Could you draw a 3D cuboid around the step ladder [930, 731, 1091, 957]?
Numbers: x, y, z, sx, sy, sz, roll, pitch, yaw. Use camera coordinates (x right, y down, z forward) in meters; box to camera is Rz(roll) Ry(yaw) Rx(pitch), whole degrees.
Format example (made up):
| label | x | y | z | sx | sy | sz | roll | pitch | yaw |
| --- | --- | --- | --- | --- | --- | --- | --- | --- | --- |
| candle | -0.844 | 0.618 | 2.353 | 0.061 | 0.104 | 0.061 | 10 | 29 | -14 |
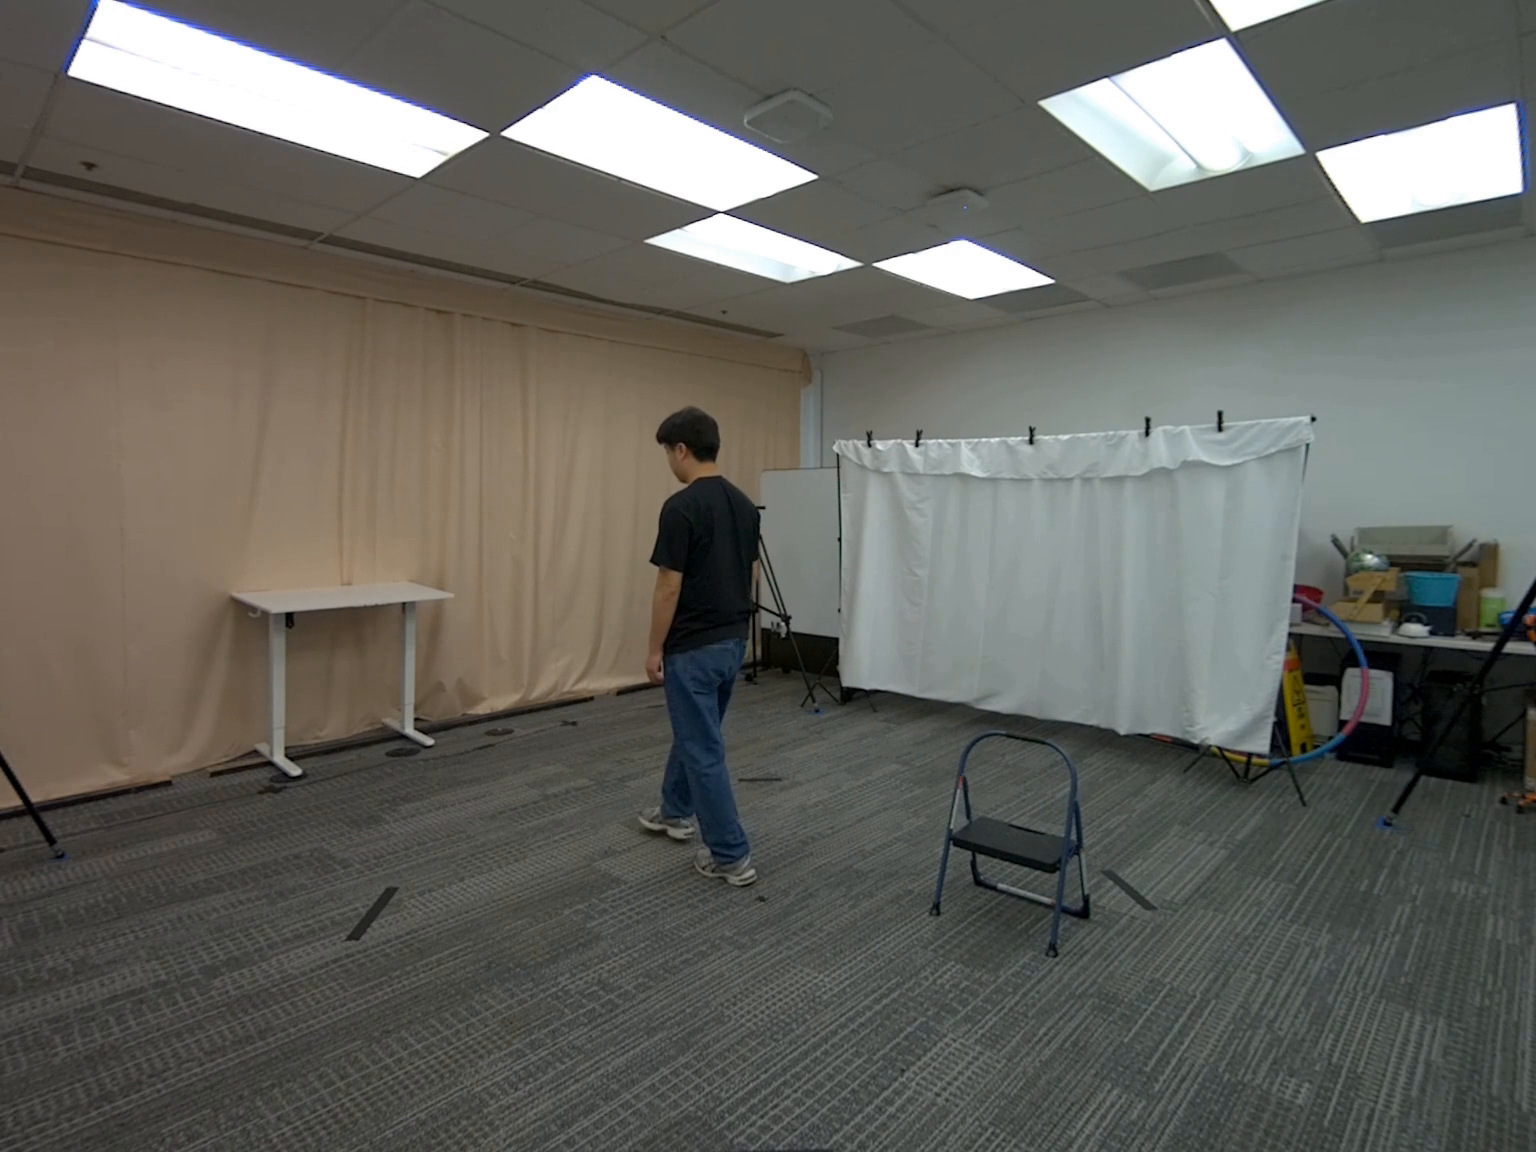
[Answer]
| label | x | y | z | sx | sy | sz | roll | pitch | yaw |
| --- | --- | --- | --- | --- | --- | --- | --- | --- | --- |
| step ladder | 0.827 | 0.850 | 2.840 | 0.445 | 0.605 | 0.339 | 3 | 4 | 39 |
